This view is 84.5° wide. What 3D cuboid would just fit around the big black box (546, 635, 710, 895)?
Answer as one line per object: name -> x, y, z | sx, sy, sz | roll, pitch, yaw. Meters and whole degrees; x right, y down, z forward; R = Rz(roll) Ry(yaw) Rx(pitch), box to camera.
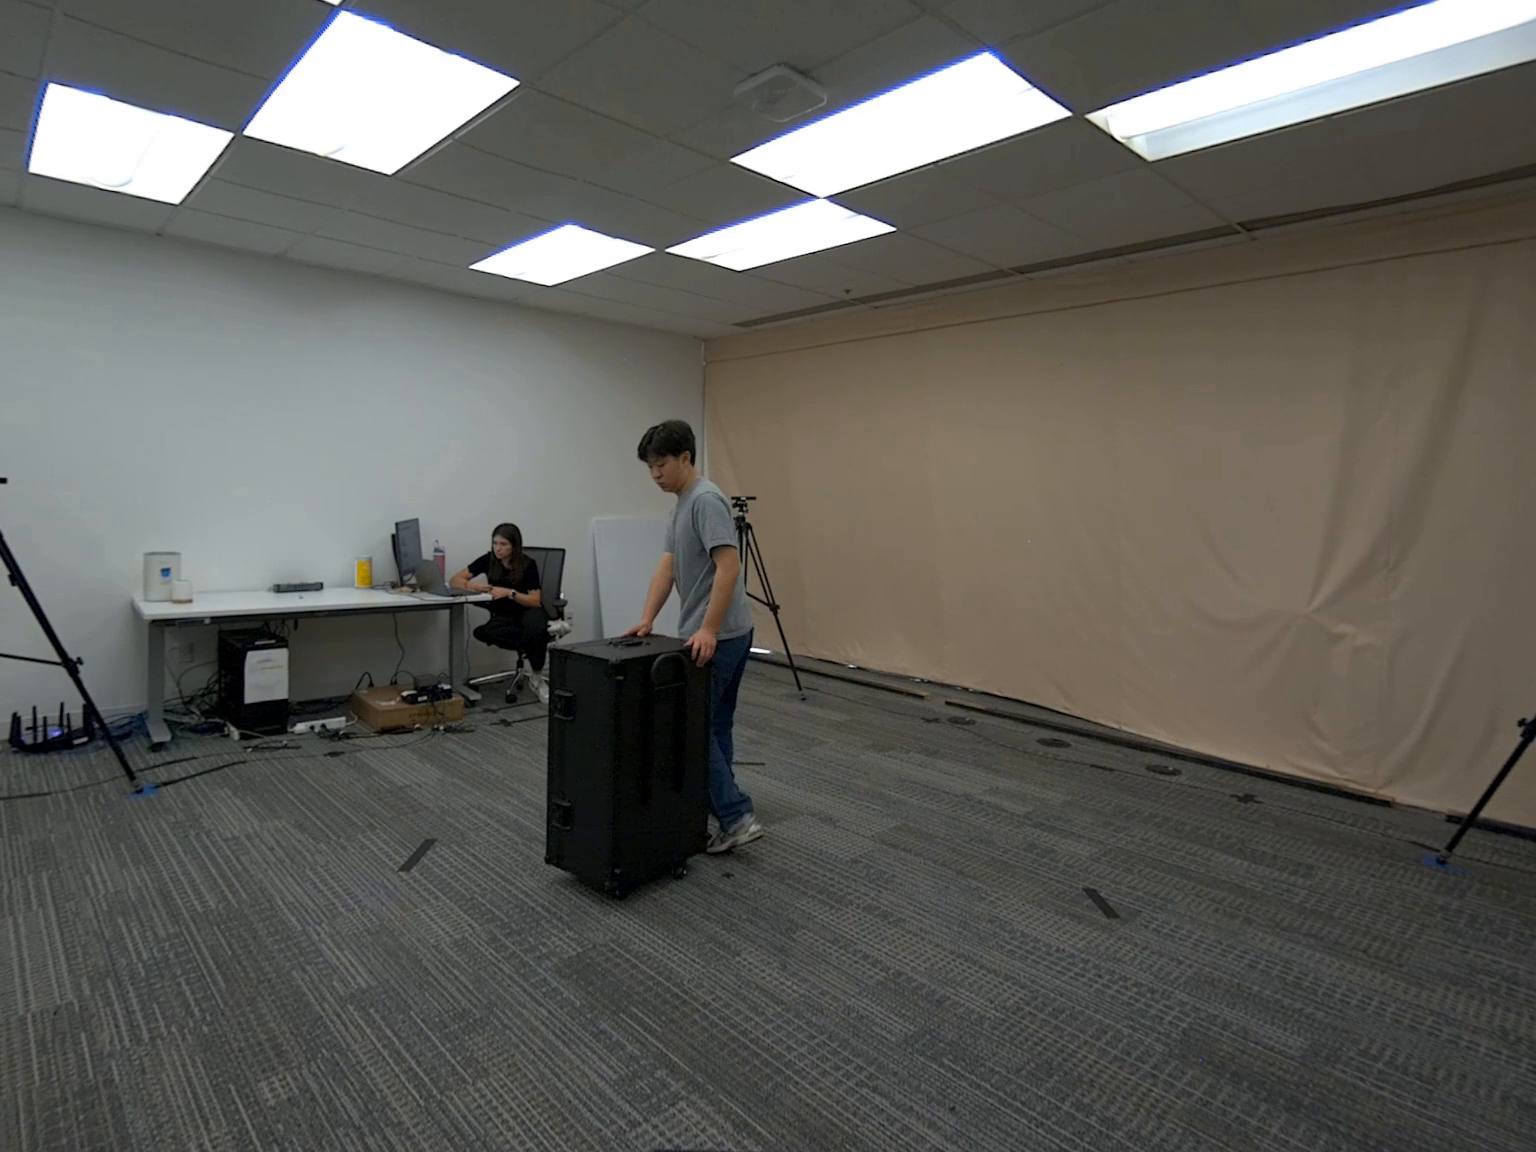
big black box -> -0.502, 0.682, 3.058 | 0.406, 0.859, 0.509 | 5, 4, 39
